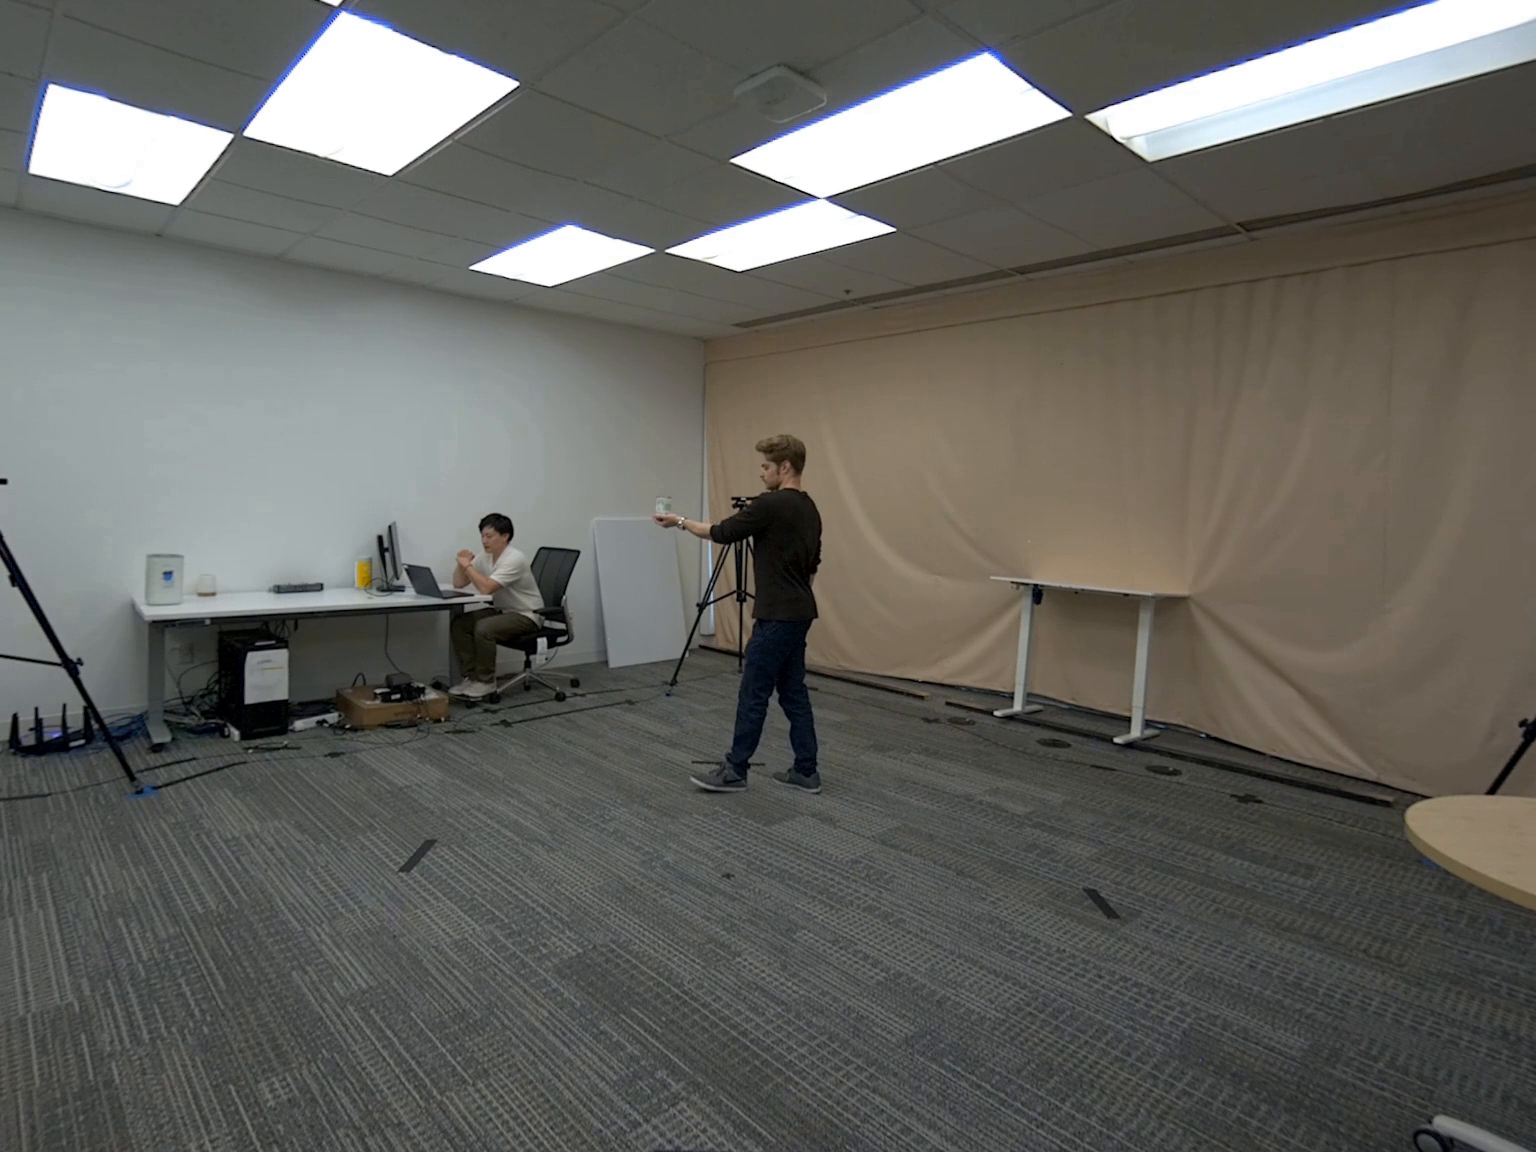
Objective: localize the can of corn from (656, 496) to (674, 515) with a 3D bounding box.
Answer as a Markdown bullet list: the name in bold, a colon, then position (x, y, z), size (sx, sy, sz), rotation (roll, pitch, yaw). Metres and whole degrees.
- **can of corn**: position (-0.513, -0.336, 4.182), size (0.074, 0.111, 0.074), rotation (3, 3, -2)
